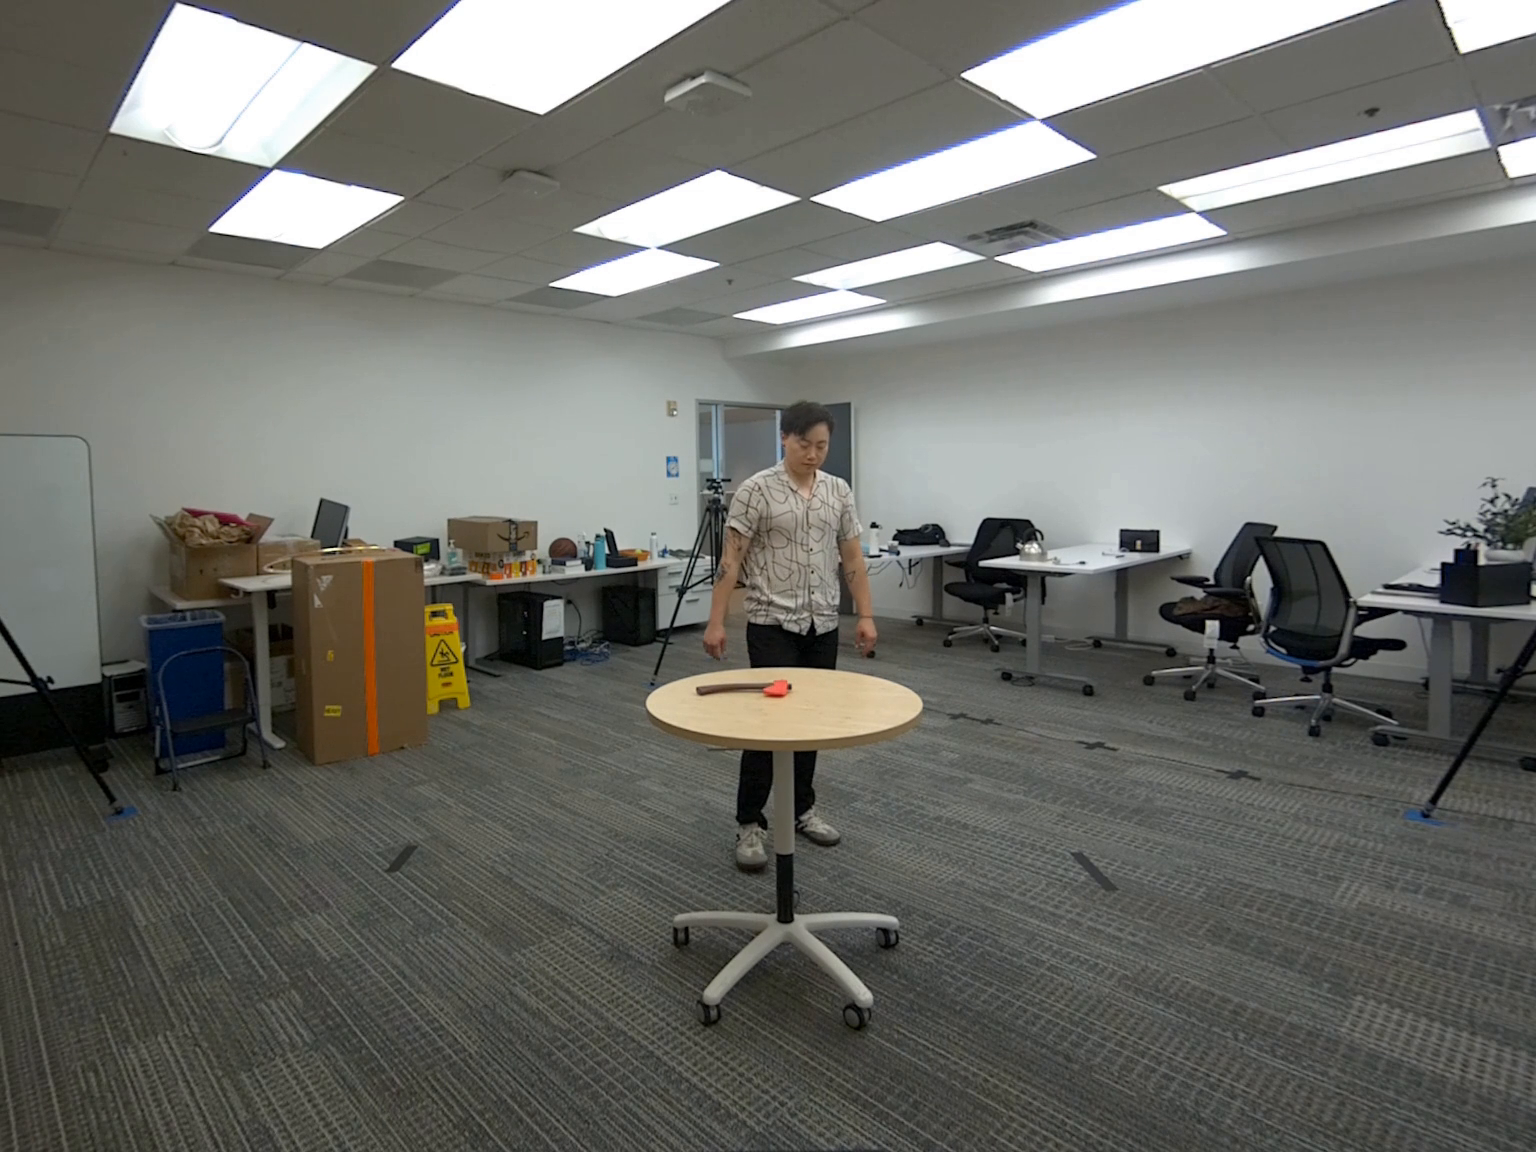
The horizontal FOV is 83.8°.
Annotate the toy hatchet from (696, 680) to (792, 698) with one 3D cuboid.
[{"bbox_3d":[-0.062,0.329,2.438,0.266,0.029,0.134,-4,12,-14],"label":"toy hatchet"}]
